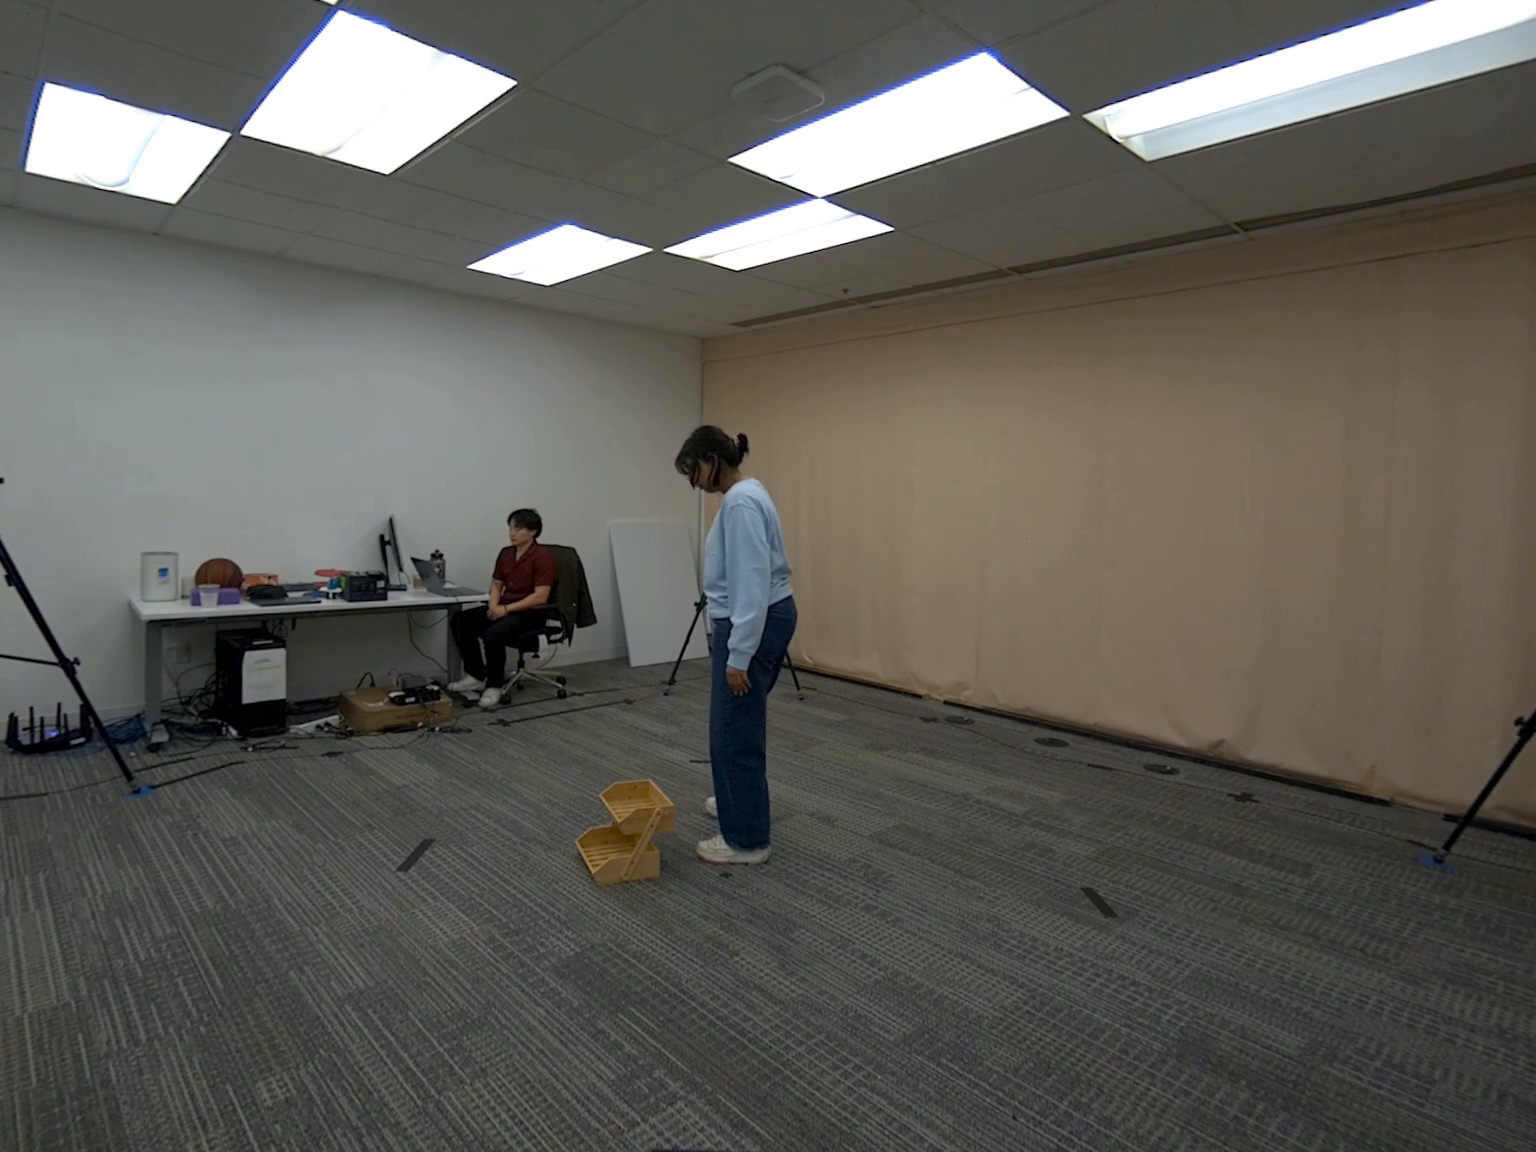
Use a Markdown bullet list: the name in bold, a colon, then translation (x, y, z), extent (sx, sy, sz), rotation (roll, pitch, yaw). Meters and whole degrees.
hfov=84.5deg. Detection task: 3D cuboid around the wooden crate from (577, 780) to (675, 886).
- **wooden crate**: translation (-0.556, 0.954, 3.172), extent (0.296, 0.272, 0.331), rotation (0, 4, -25)
